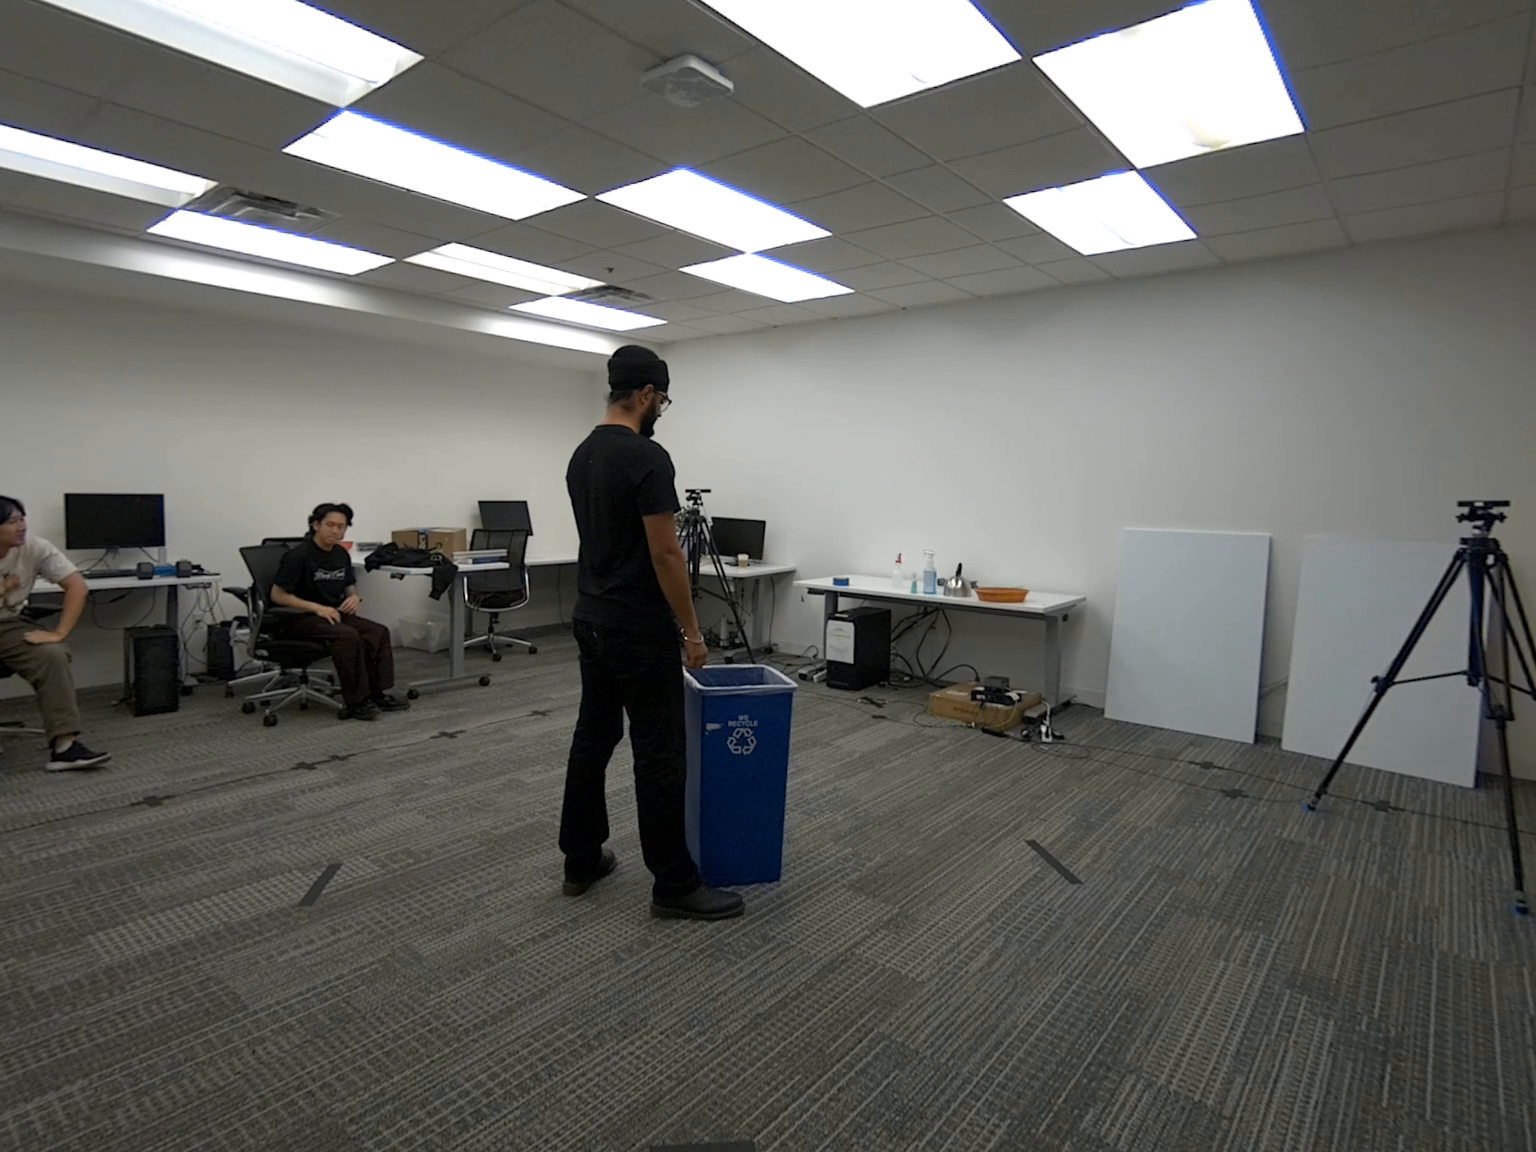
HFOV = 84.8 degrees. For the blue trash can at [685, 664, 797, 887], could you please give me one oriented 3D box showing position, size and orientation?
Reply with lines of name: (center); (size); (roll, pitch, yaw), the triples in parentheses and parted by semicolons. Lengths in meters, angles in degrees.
blue trash can: (-0.143, 0.714, 3.117); (0.368, 0.712, 0.386); (1, 3, -17)
